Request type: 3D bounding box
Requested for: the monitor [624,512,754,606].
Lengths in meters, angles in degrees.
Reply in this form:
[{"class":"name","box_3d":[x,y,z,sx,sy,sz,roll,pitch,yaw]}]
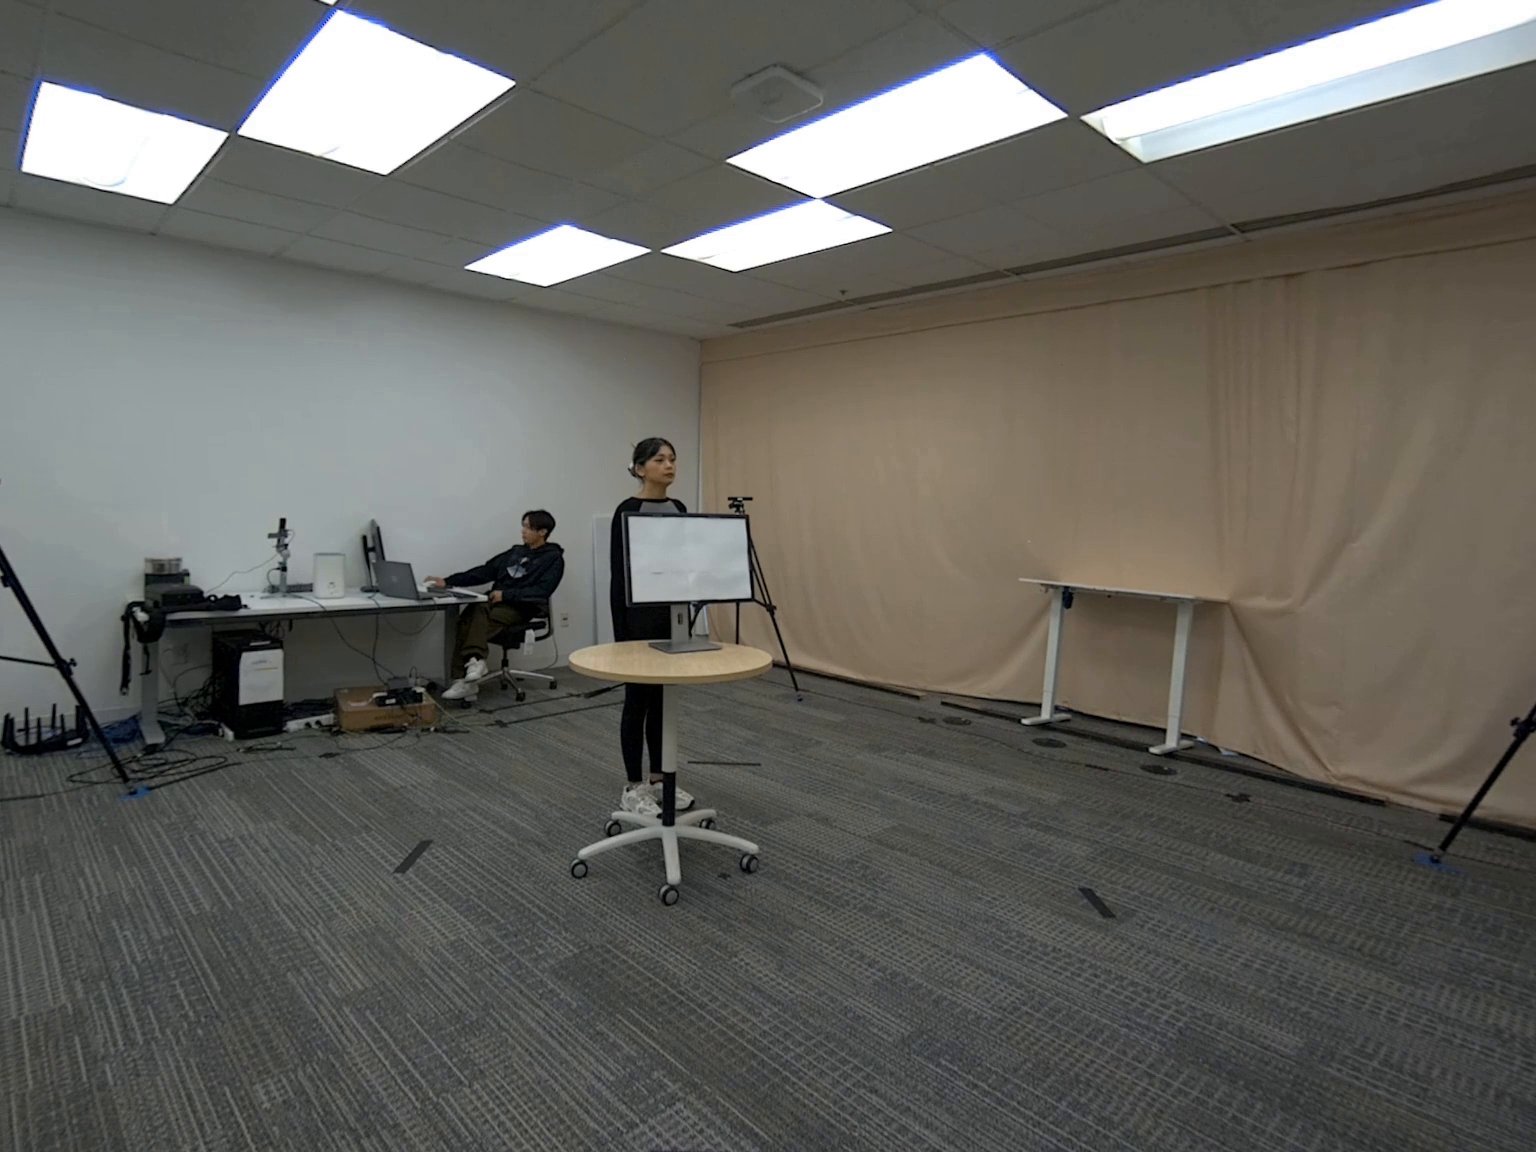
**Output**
[{"class":"monitor","box_3d":[-0.337,0.022,3.372,0.528,0.521,0.192,-1,6,-32]}]
